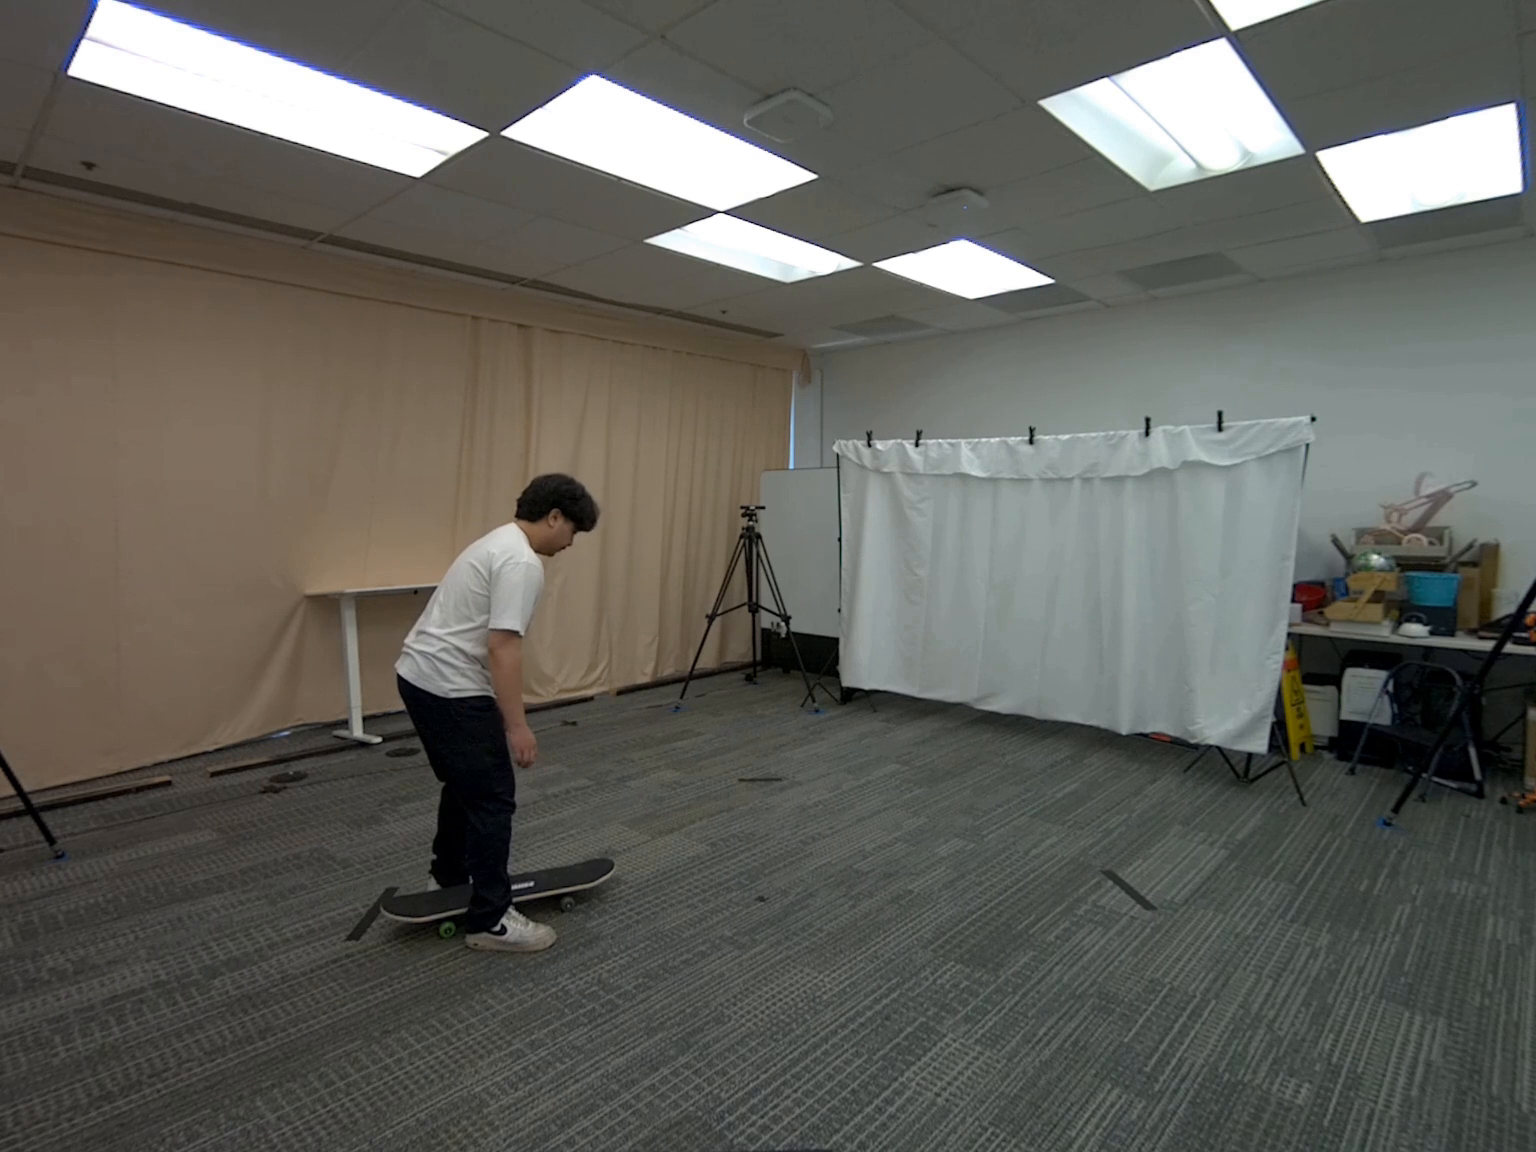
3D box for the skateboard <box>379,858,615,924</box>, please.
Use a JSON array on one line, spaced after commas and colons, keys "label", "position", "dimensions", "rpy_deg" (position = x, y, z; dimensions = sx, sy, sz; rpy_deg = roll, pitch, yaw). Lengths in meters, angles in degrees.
[{"label": "skateboard", "position": [-0.915, 1.113, 2.873], "dimensions": [0.766, 0.110, 0.199], "rpy_deg": [-3, 5, -26]}]
